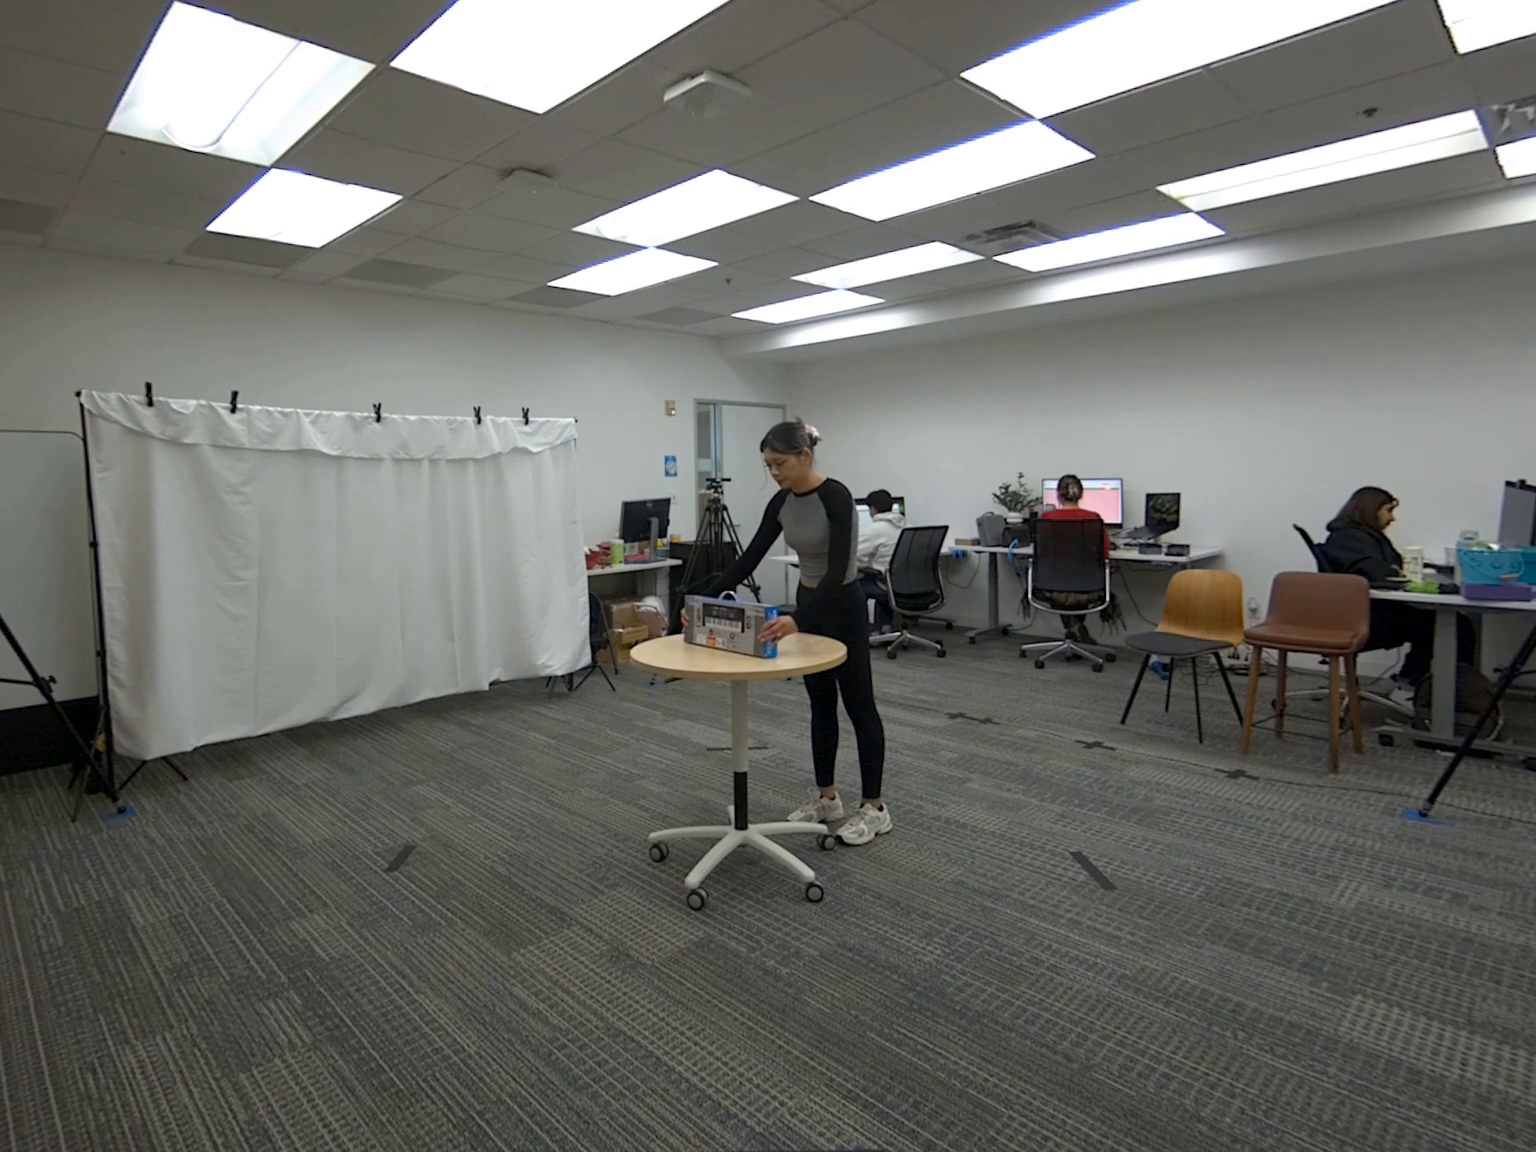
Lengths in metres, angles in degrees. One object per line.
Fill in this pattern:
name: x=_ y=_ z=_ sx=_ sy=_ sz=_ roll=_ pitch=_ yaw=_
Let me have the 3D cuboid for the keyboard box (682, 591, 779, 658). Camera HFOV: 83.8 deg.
keyboard box: x=-0.136 y=0.175 z=3.021 sx=0.057 sy=0.175 sz=0.450 roll=0 pitch=4 yaw=-43
